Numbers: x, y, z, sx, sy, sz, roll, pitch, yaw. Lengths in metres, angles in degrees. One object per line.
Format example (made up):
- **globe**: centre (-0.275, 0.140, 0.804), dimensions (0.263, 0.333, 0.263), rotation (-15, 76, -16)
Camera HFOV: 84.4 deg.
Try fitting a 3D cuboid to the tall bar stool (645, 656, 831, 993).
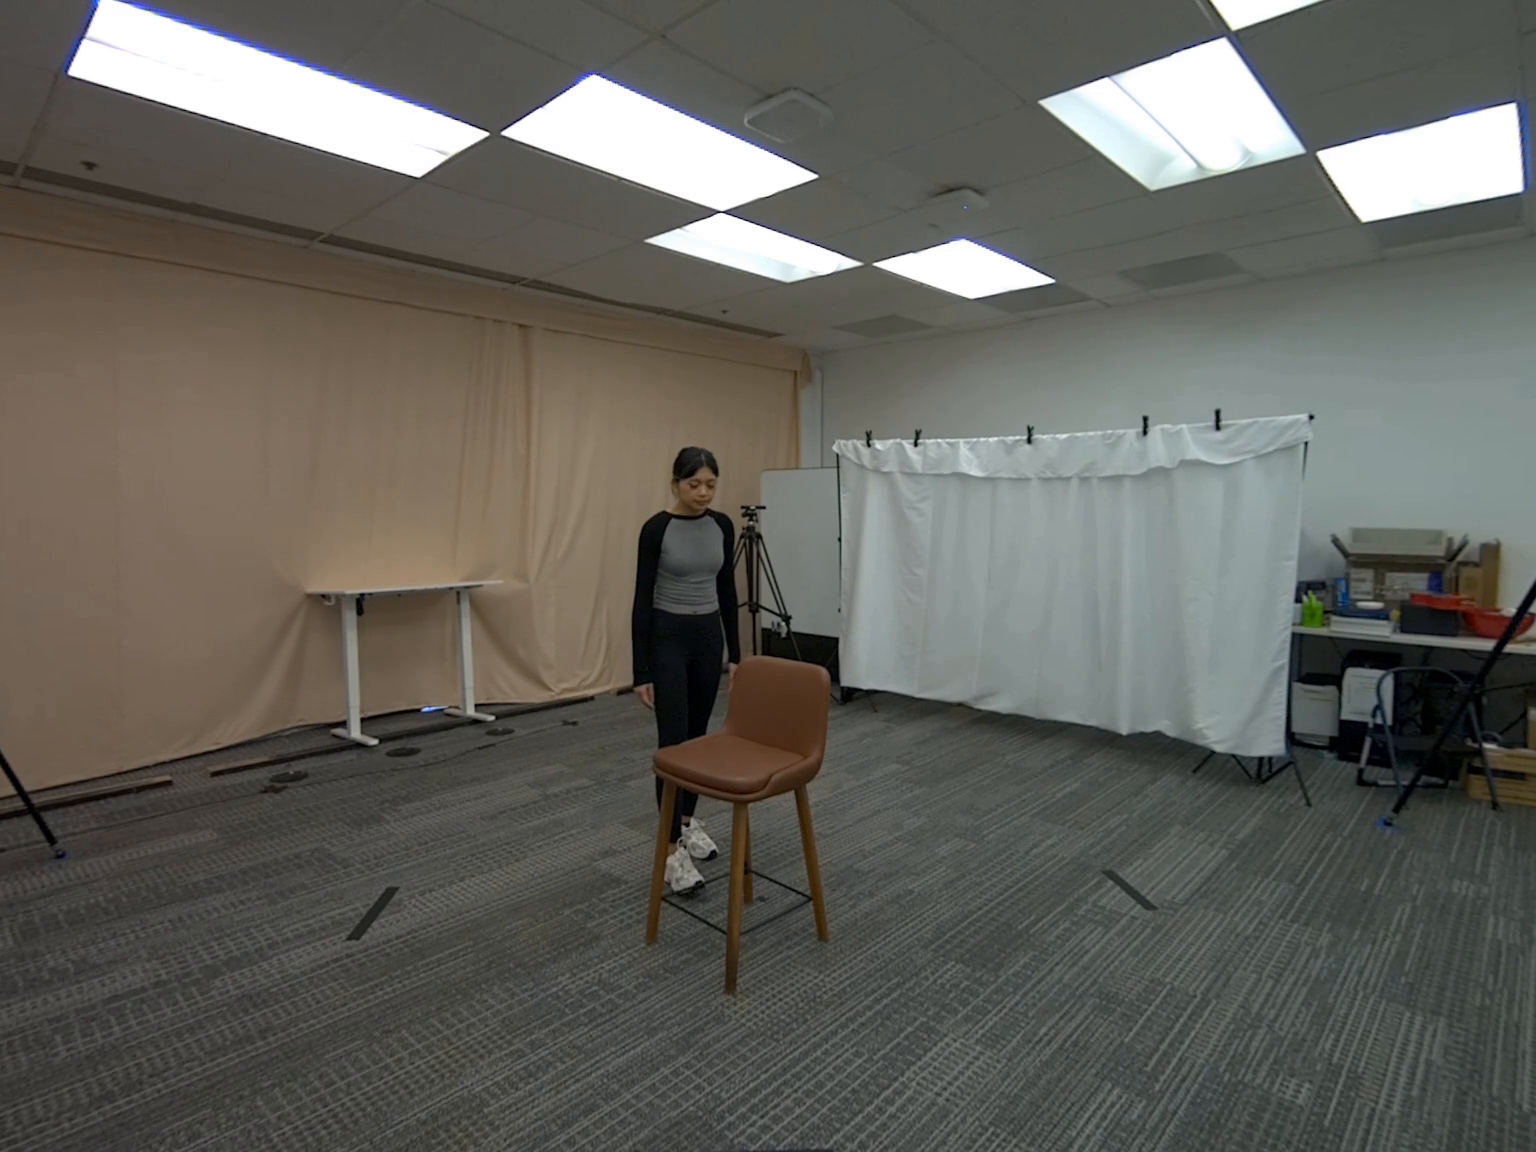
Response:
- **tall bar stool**: centre (-0.083, 0.735, 2.670), dimensions (0.472, 0.889, 0.453), rotation (3, 2, 45)
